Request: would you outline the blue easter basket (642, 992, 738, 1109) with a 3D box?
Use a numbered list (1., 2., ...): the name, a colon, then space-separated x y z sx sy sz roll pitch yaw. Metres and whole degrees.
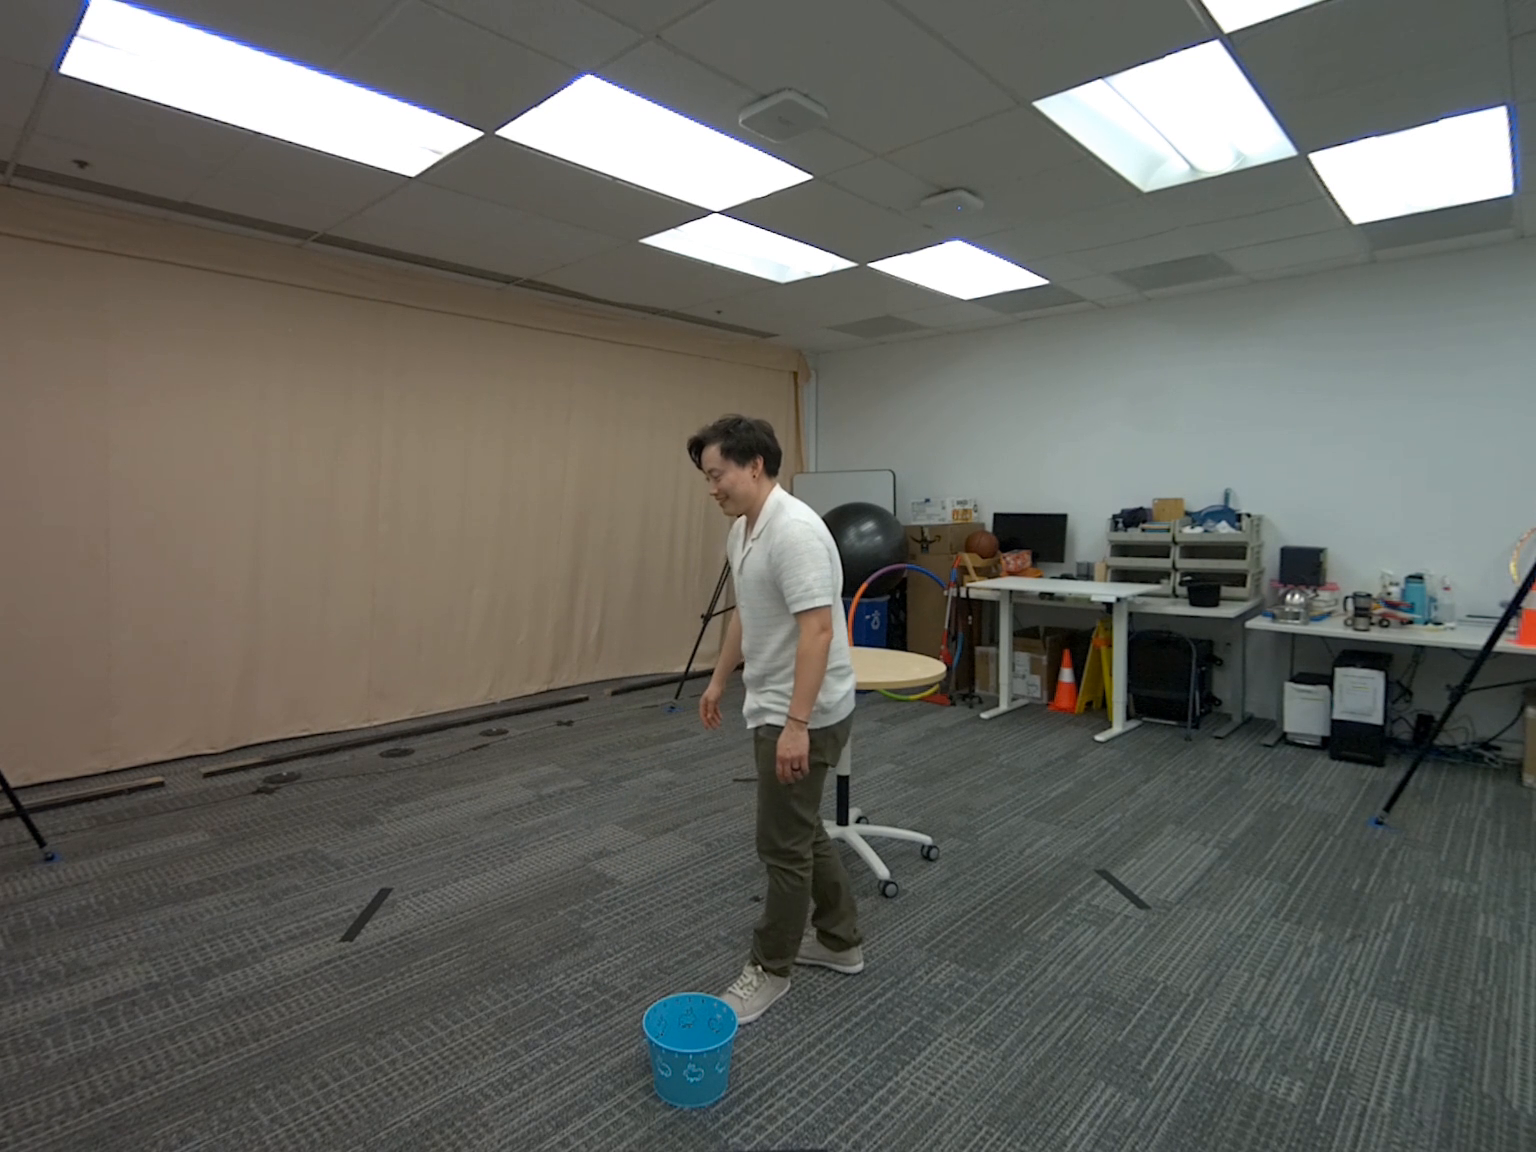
1. blue easter basket: -0.182 1.149 2.035 0.243 0.155 0.244 0 3 -2
